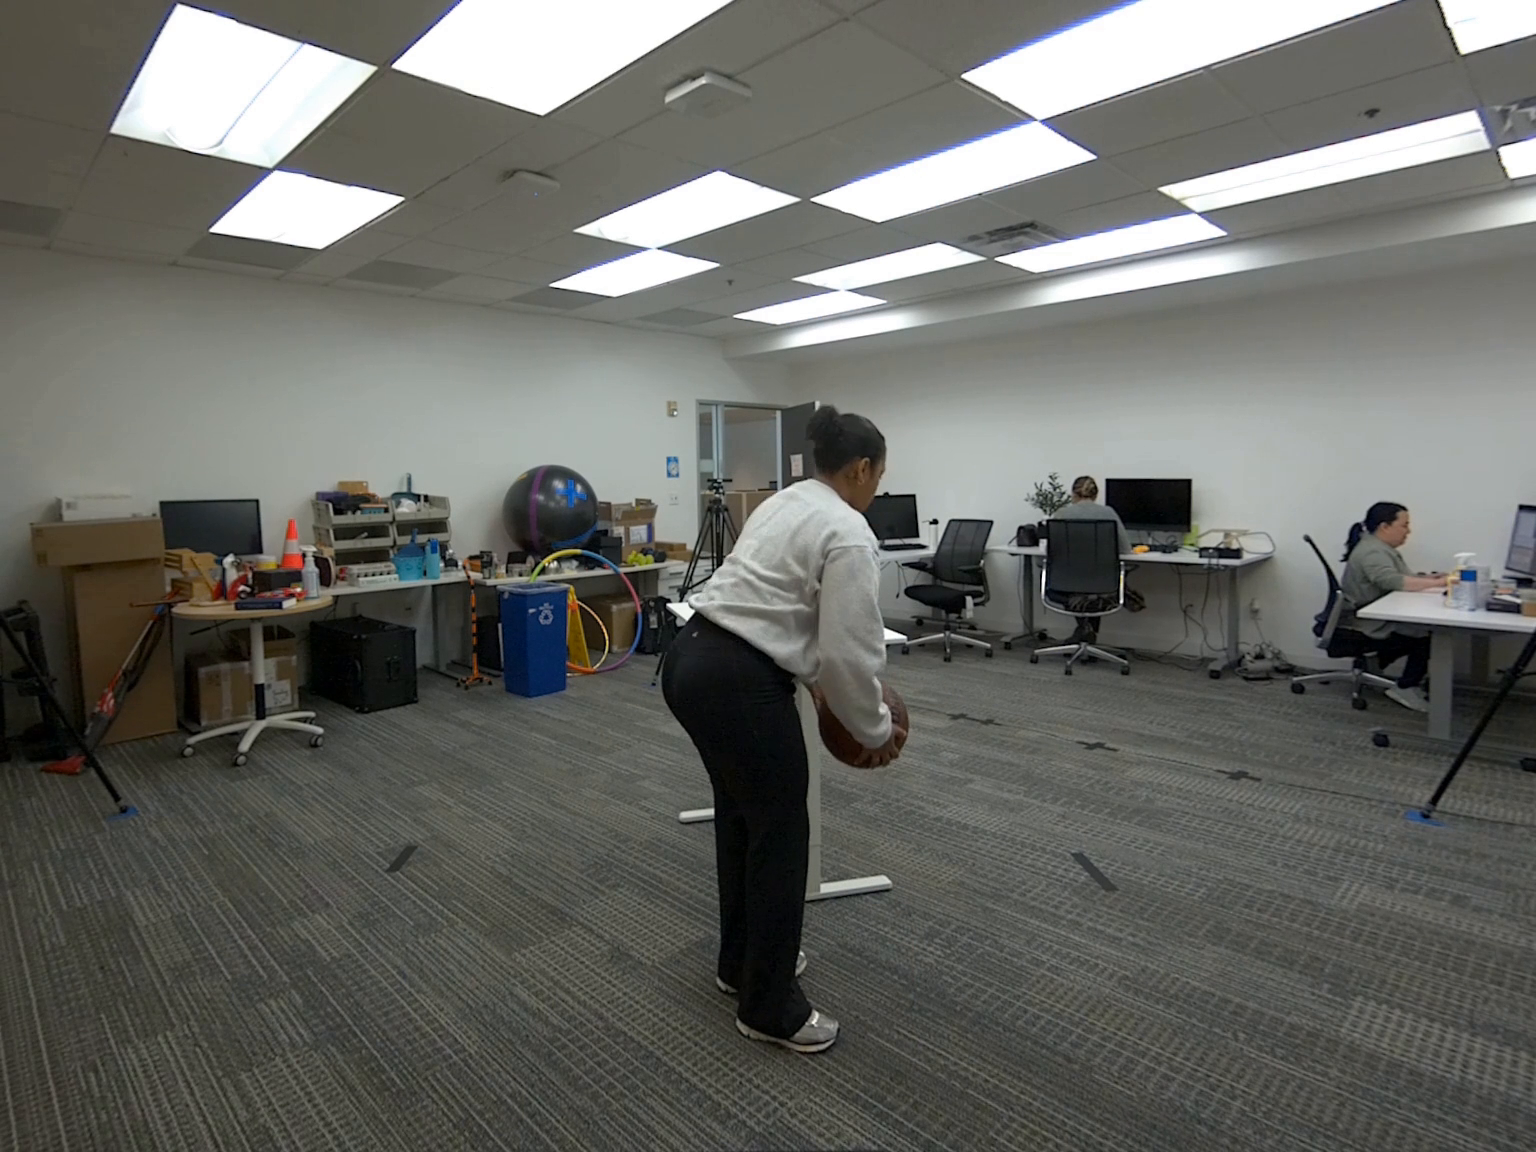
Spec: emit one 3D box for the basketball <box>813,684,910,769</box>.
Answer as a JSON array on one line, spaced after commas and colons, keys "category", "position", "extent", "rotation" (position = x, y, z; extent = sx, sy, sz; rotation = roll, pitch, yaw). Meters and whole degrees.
[{"category": "basketball", "position": [0.258, 0.395, 2.279], "extent": [0.236, 0.235, 0.237], "rotation": [-1, 5, -2]}]
